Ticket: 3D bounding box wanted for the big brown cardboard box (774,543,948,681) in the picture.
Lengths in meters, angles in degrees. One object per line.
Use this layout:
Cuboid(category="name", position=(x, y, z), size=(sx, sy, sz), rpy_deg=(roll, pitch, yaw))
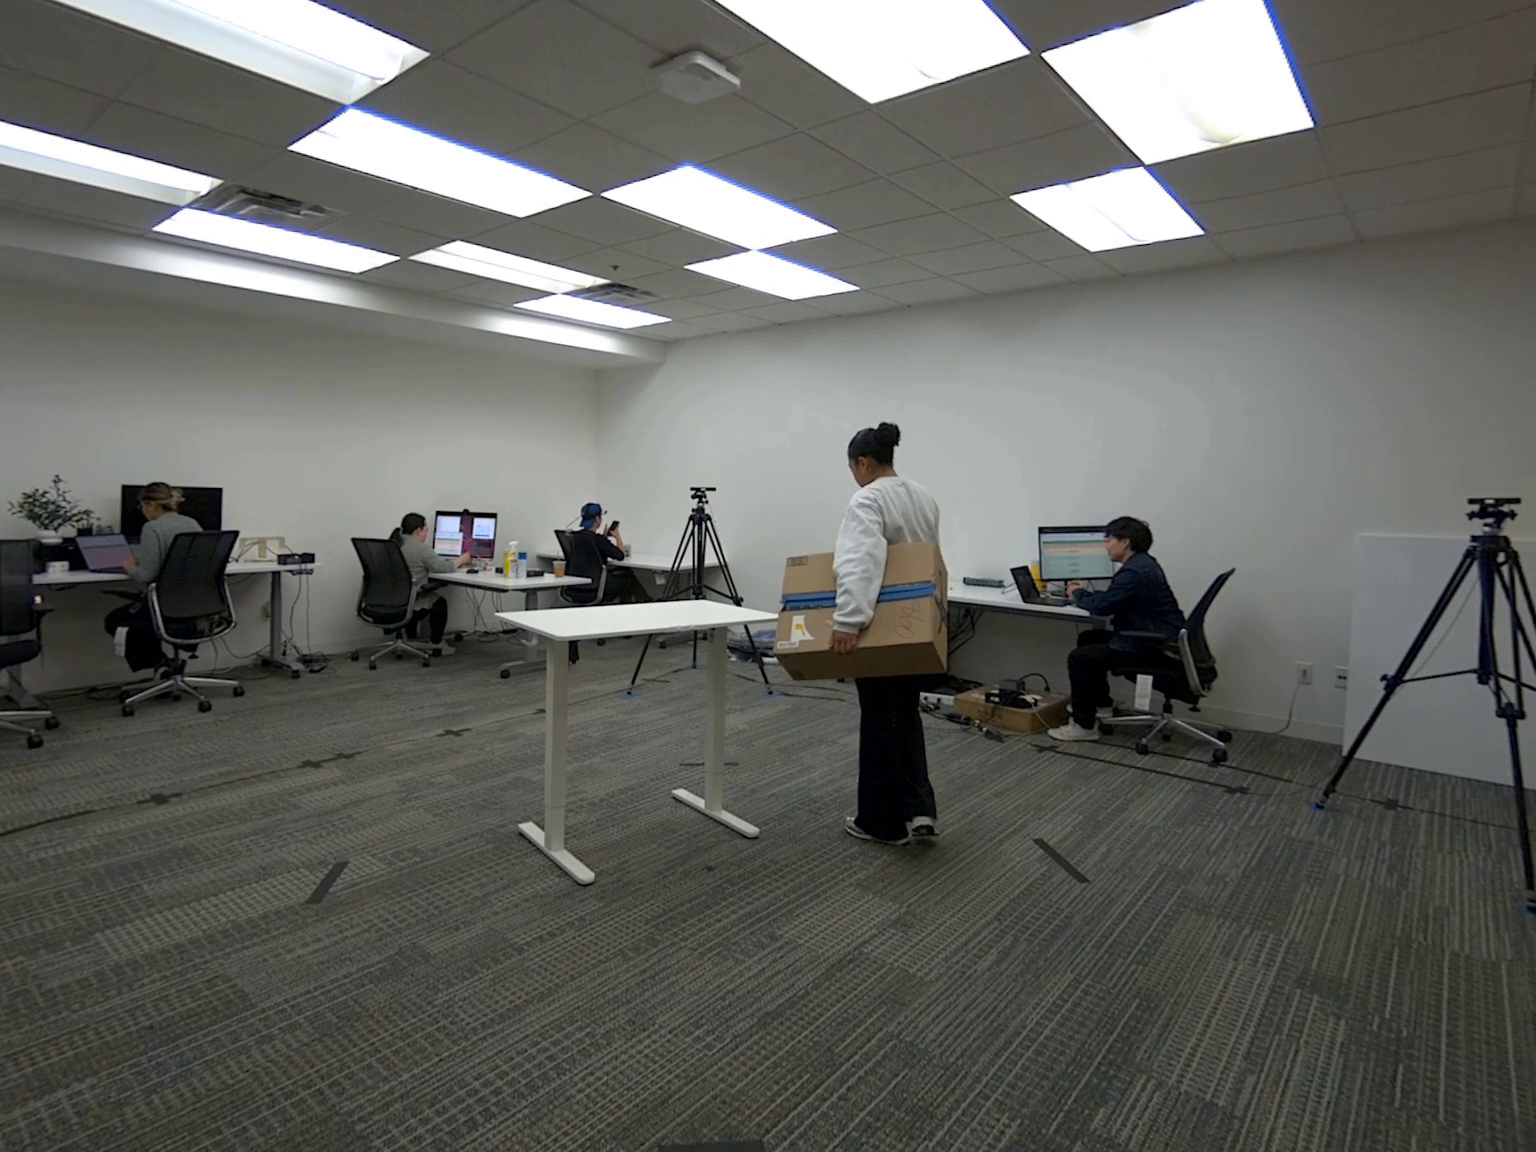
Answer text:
Cuboid(category="big brown cardboard box", position=(0.338, 0.132, 3.089), size=(0.601, 0.426, 0.223), rpy_deg=(-6, -37, 22))
